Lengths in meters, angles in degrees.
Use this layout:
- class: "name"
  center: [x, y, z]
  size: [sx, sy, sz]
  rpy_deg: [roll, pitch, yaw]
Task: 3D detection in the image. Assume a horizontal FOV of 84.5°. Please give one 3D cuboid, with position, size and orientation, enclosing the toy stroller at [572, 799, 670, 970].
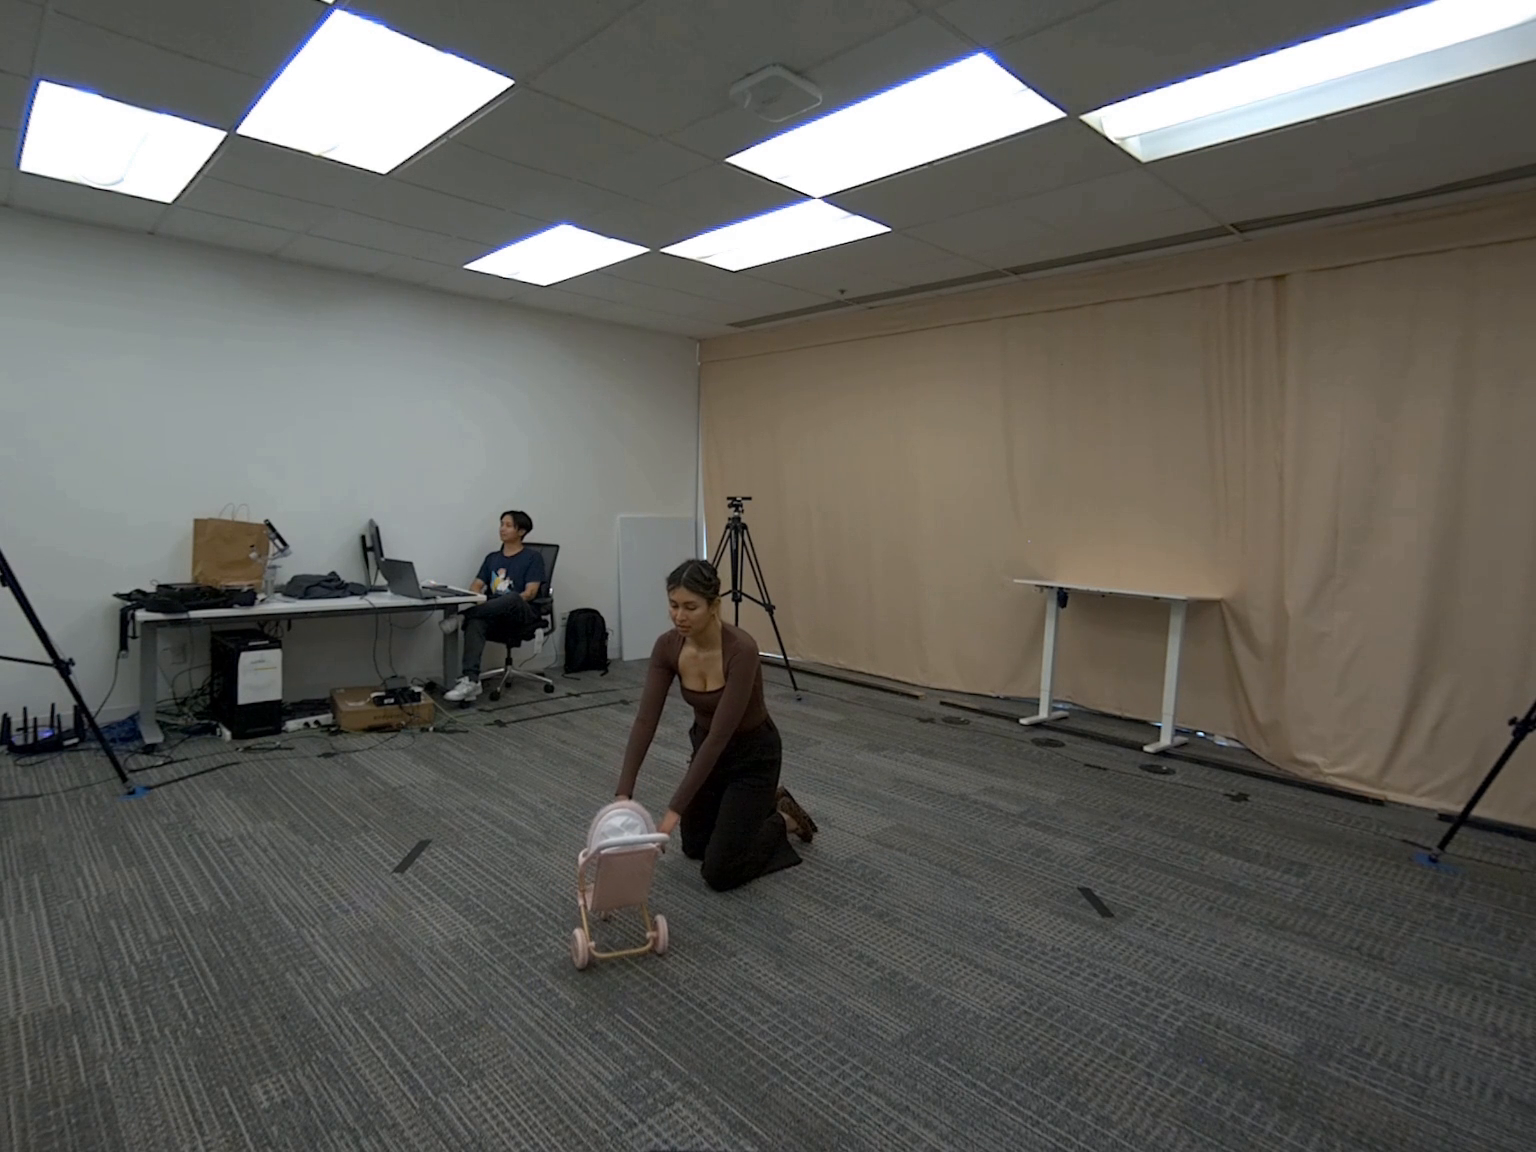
- class: "toy stroller"
  center: [-0.458, 0.915, 2.585]
  size: [0.277, 0.529, 0.350]
  rpy_deg: [1, 19, -19]
